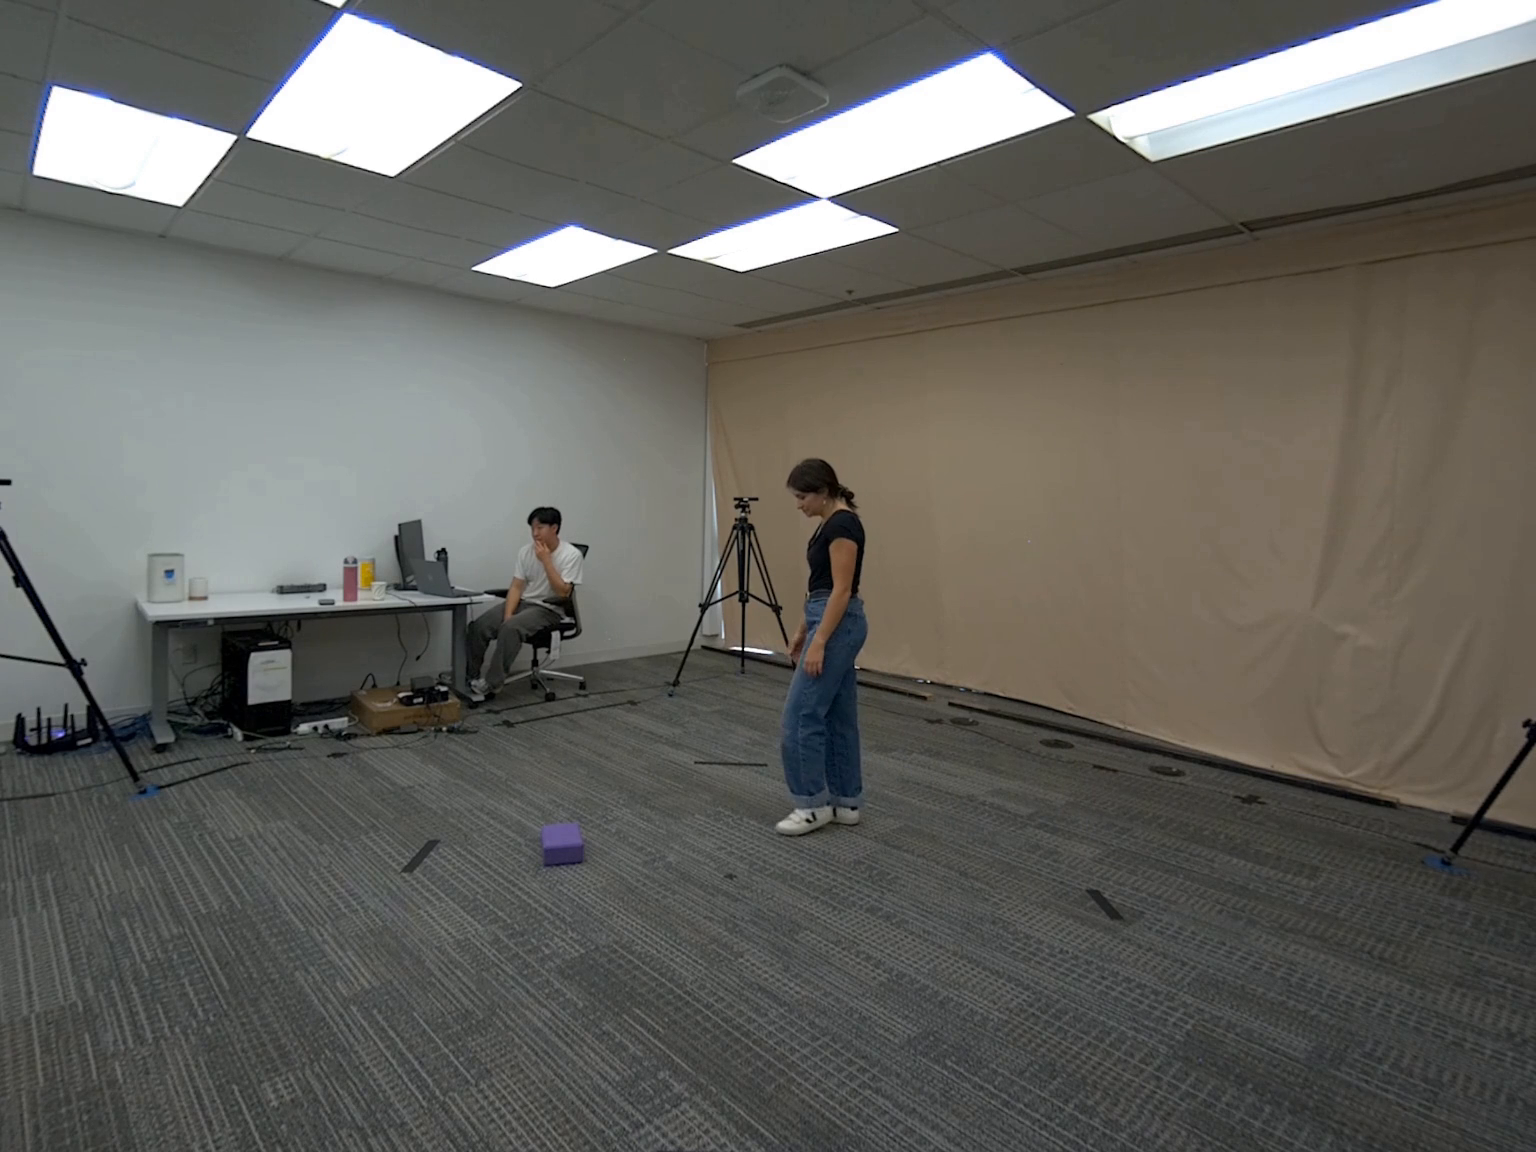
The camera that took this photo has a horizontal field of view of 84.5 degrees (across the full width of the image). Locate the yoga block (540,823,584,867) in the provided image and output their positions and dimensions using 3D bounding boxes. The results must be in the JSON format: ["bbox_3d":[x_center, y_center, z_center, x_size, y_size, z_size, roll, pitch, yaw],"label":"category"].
[{"bbox_3d":[-0.809,1.042,3.262,0.147,0.076,0.233,0,6,-16],"label":"yoga block"}]
